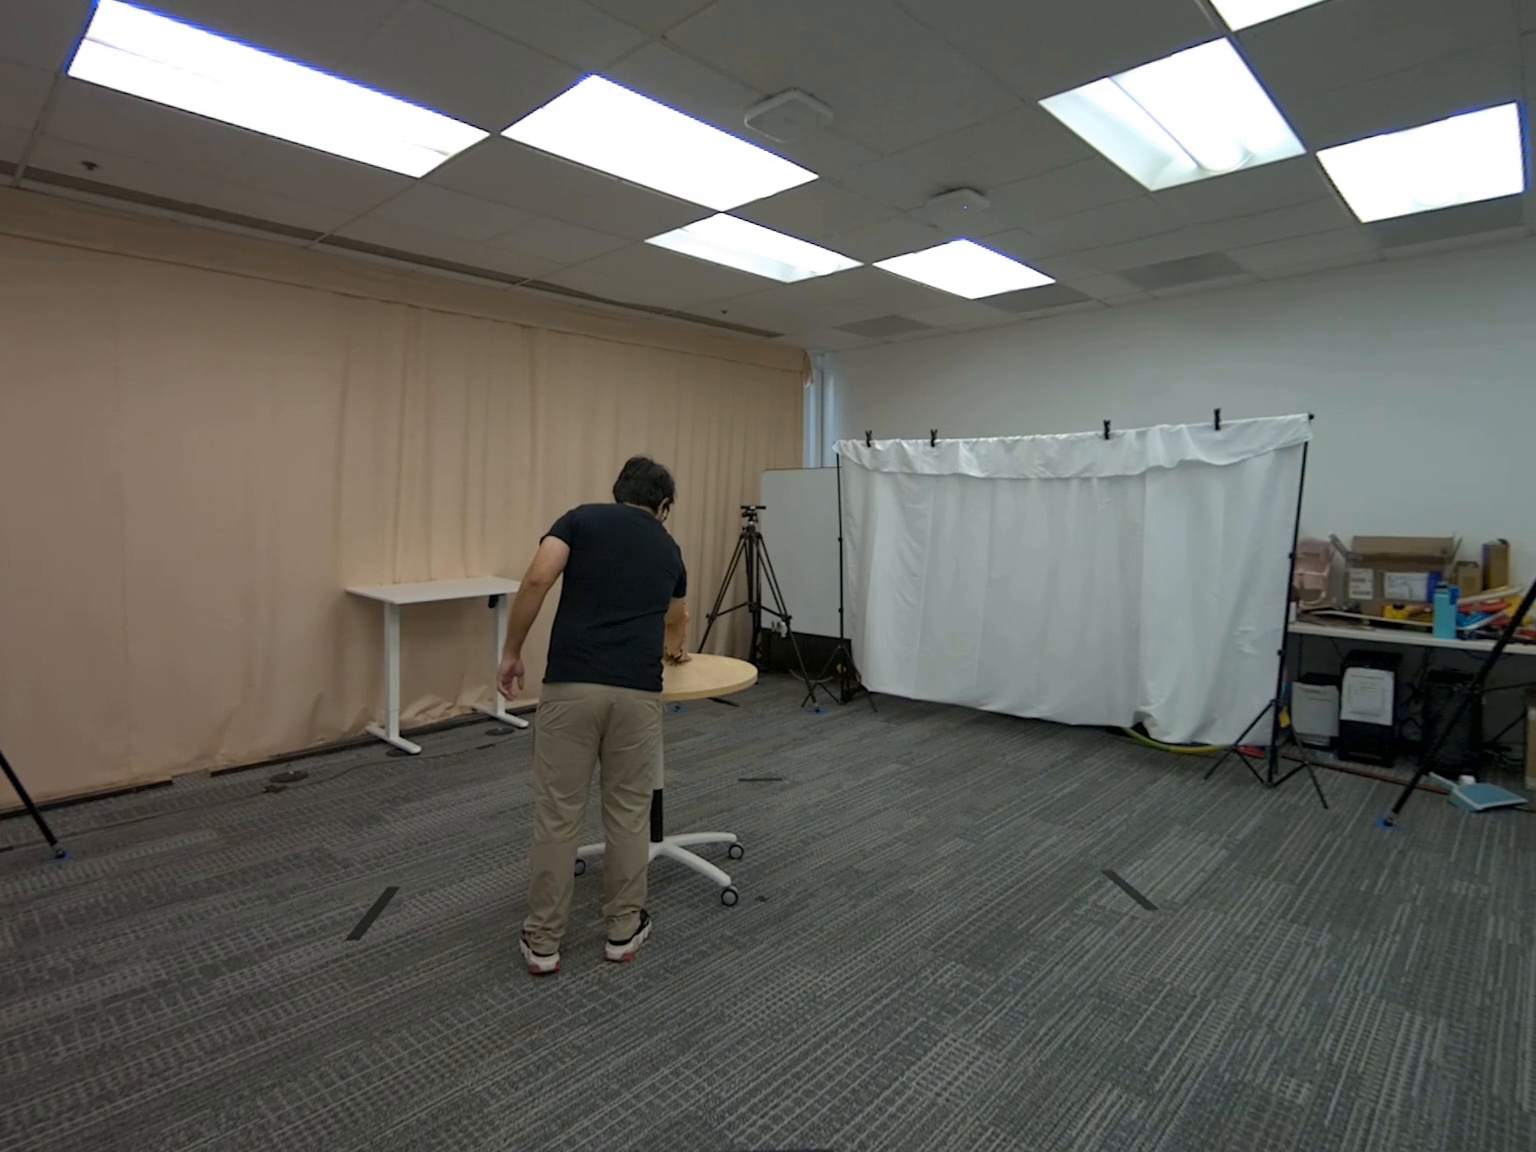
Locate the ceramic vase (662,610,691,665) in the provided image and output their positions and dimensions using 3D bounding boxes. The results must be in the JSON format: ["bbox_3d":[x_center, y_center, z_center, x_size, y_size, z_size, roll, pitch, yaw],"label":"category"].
[{"bbox_3d":[-0.388,0.224,3.365,0.133,0.219,0.160,-1,4,-9],"label":"ceramic vase"}]
